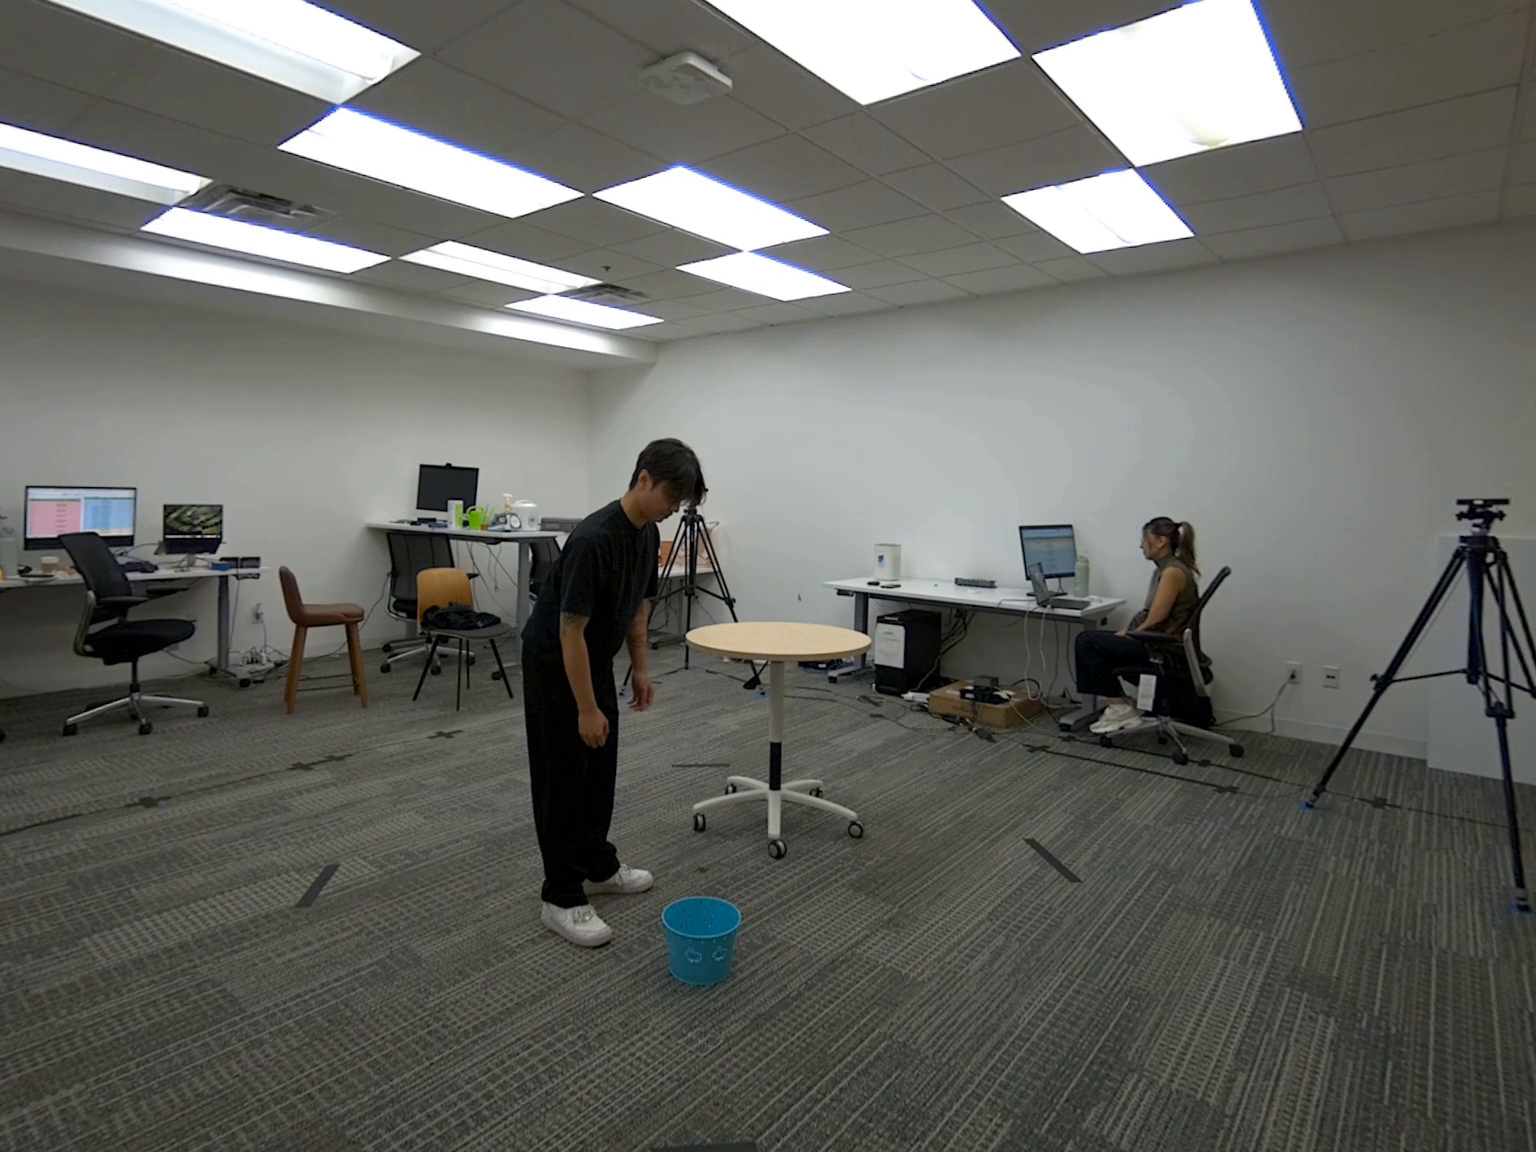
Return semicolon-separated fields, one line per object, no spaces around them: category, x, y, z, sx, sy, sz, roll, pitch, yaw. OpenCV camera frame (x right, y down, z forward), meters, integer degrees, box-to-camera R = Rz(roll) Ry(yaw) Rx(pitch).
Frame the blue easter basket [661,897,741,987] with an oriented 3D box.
blue easter basket;-0.198;1.052;2.469;0.243;0.155;0.245;1;5;-2
